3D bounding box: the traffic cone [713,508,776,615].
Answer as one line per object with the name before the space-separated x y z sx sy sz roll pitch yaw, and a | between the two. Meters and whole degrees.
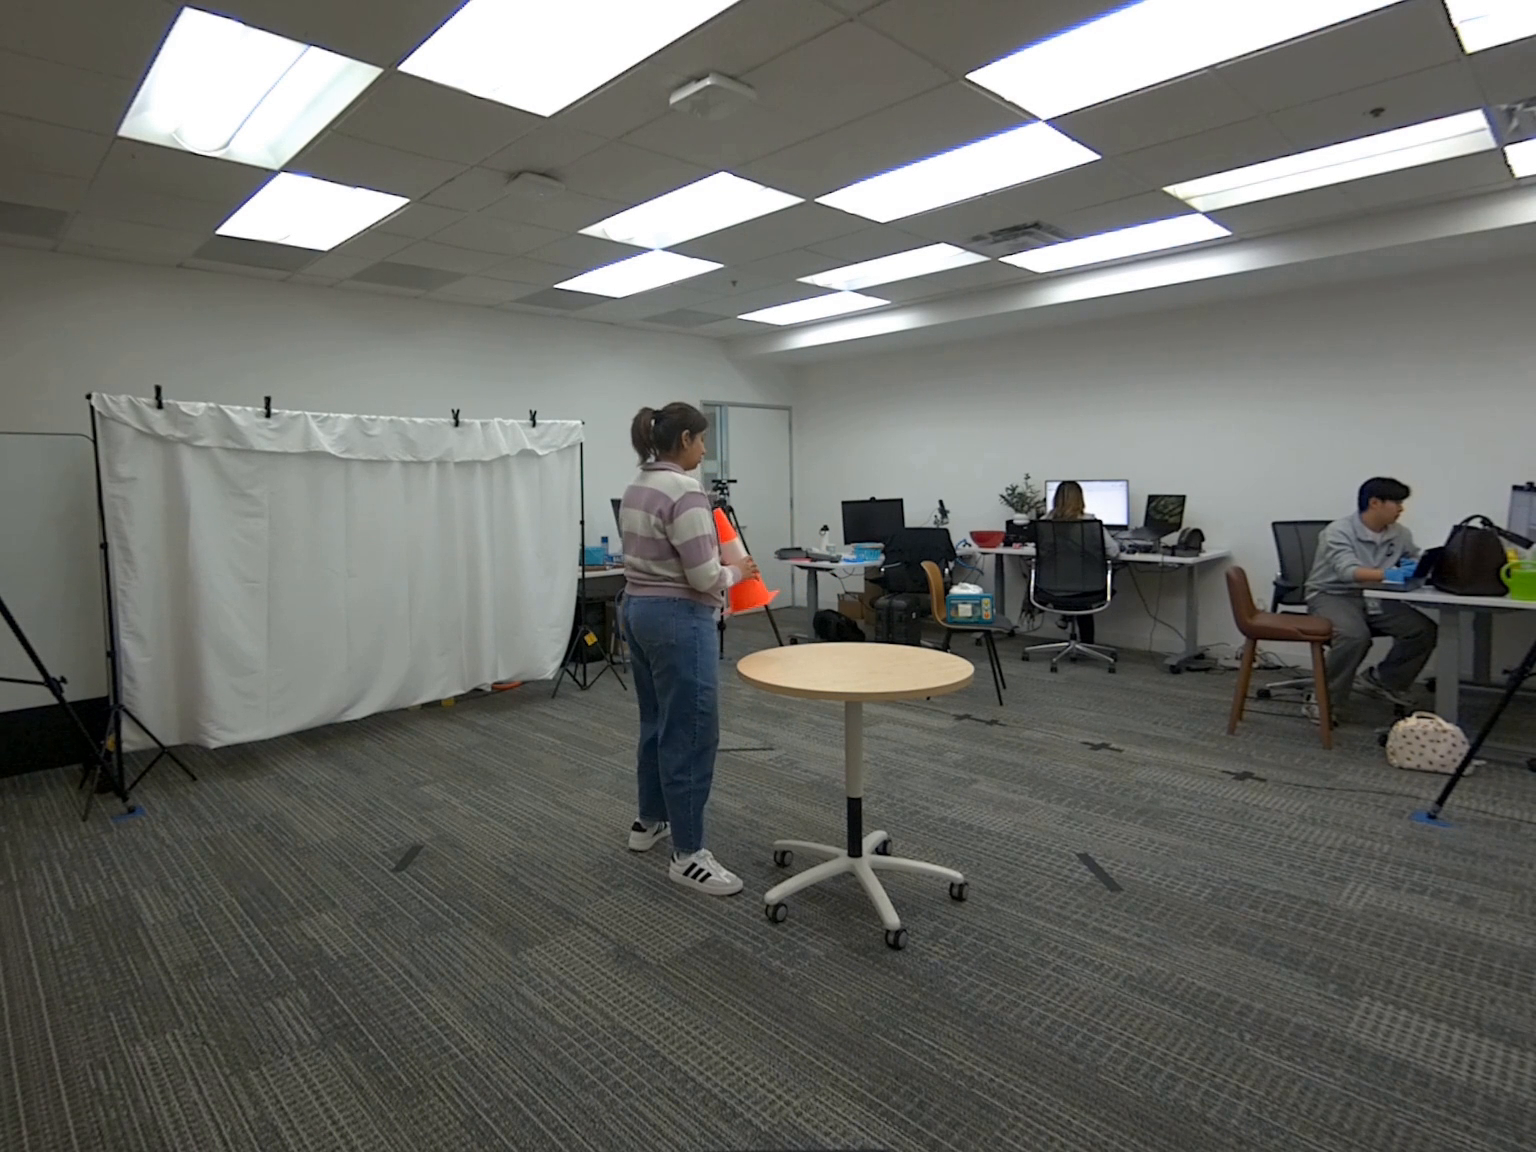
traffic cone | -0.136 -0.070 3.232 0.206 0.381 0.204 -17 7 23
